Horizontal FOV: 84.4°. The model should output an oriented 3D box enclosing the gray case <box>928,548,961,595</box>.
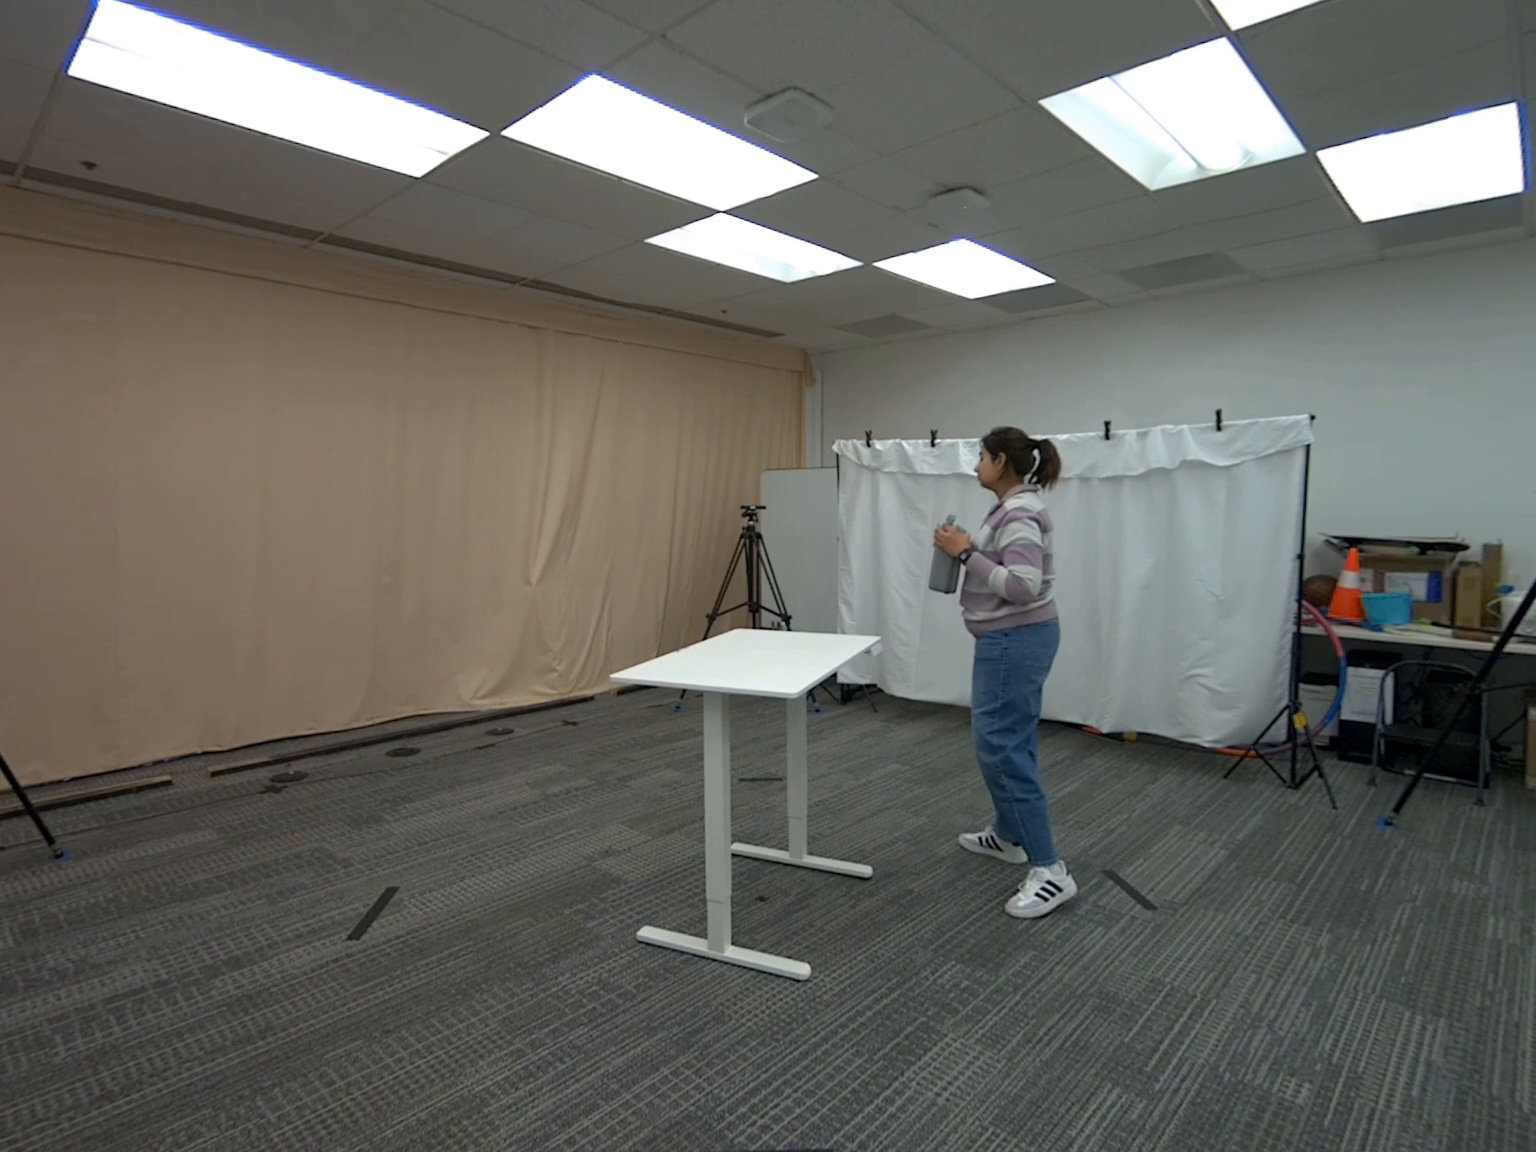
[{"bbox_3d":[0.693,-0.064,3.211,0.105,0.260,0.255,8,6,7],"label":"gray case"}]
